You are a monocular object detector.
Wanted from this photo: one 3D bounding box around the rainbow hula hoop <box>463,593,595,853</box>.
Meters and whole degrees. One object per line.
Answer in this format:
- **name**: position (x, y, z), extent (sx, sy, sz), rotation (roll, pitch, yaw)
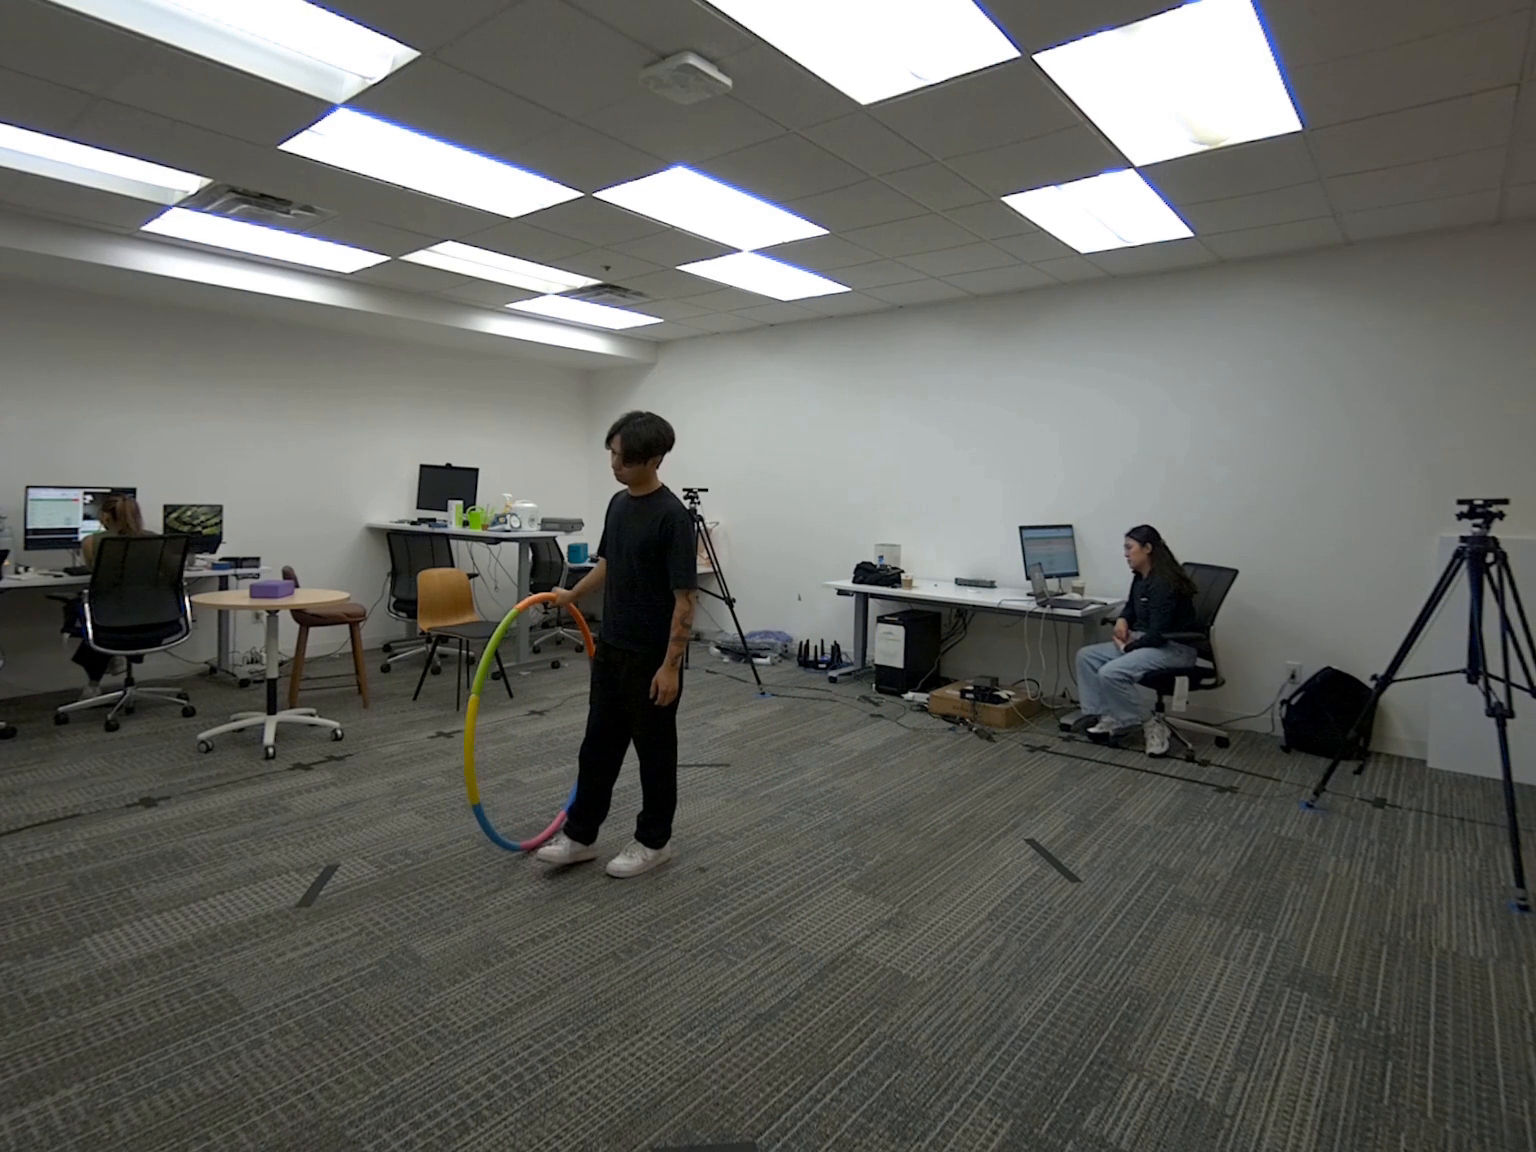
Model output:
- **rainbow hula hoop**: position (-0.891, 0.557, 3.313), extent (0.036, 0.976, 0.965), rotation (-1, 3, 14)
